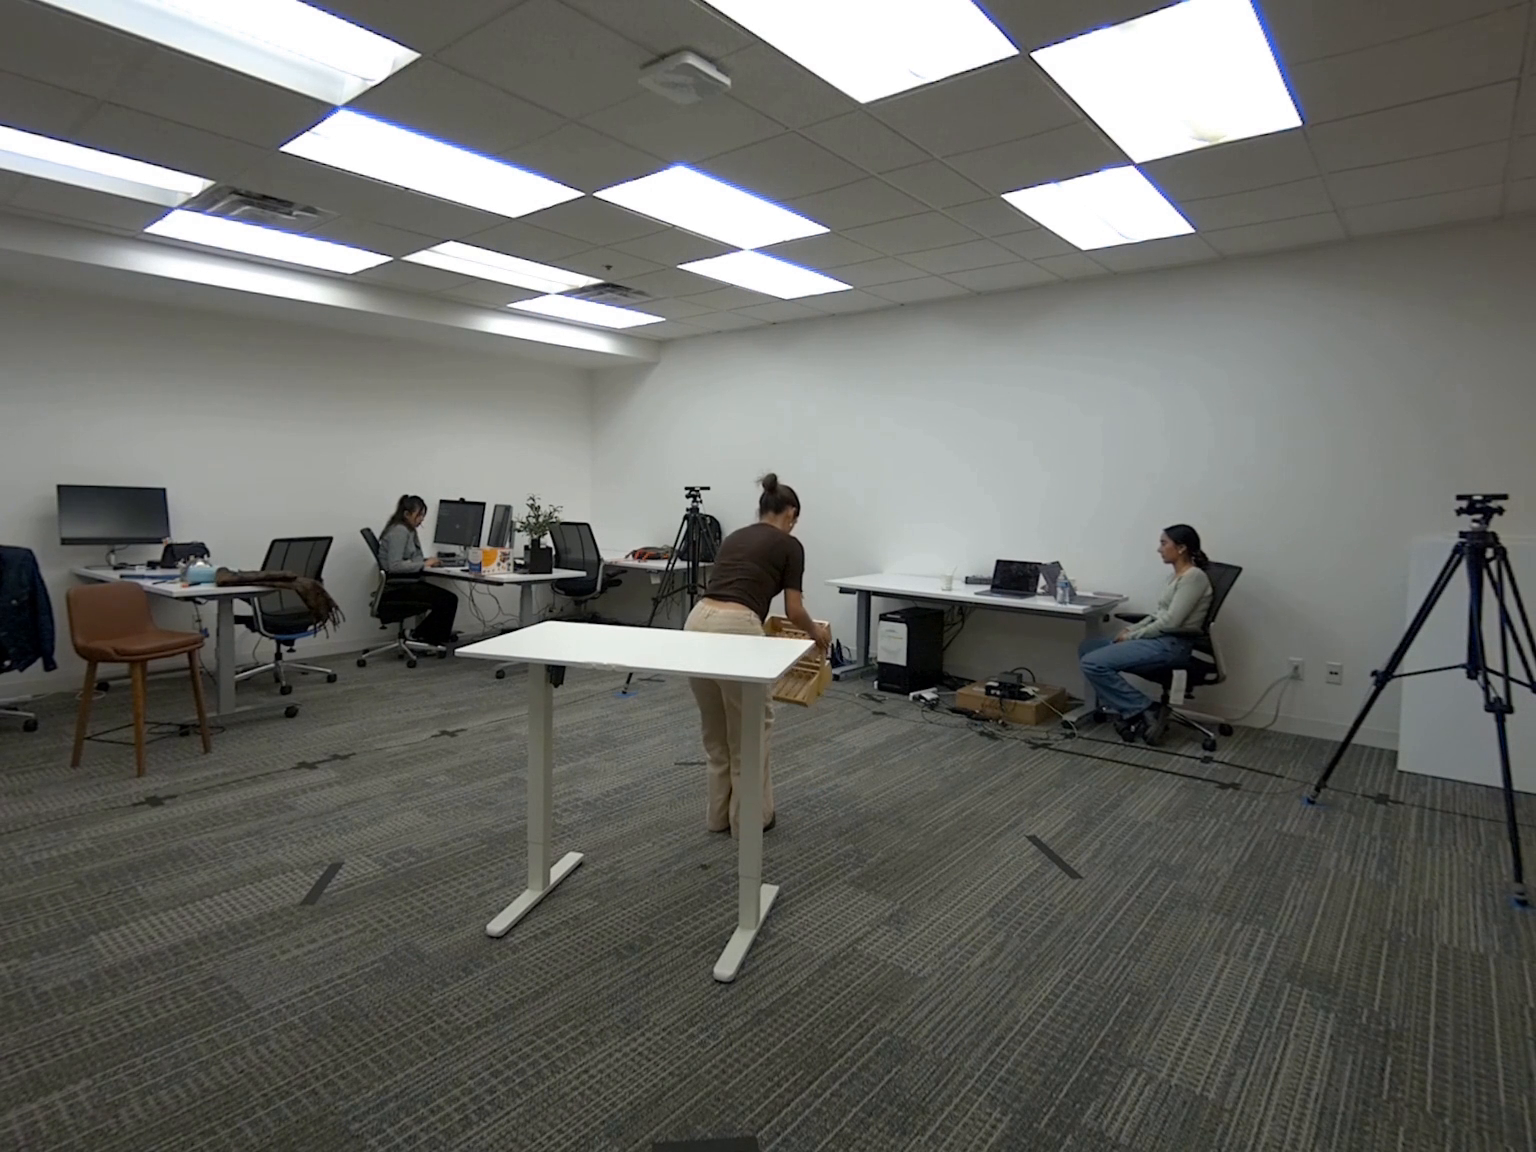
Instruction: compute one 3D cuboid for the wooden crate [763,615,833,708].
[{"bbox_3d":[0.081,0.373,3.756,0.335,0.266,0.300,5,29,33],"label":"wooden crate"}]
